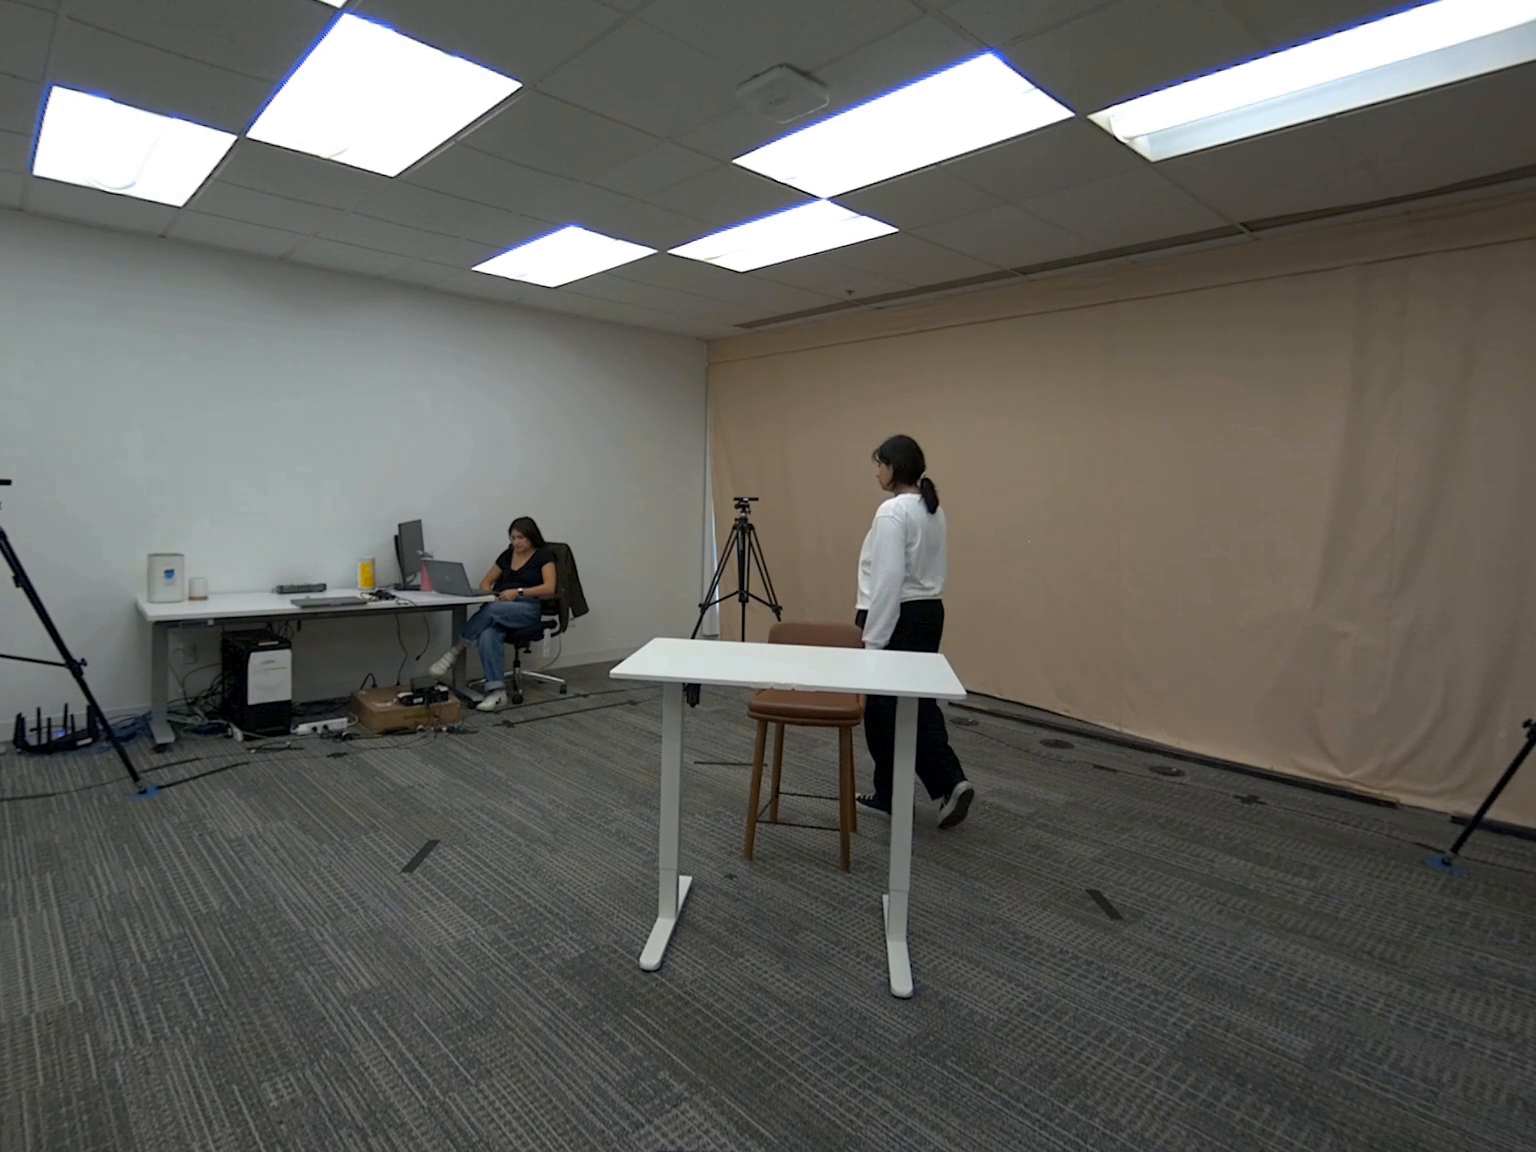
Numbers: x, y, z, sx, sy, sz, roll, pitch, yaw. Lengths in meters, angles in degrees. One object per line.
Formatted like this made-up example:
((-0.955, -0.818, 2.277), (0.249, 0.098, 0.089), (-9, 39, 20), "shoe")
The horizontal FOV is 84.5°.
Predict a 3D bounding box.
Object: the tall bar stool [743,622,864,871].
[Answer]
((0.155, 0.655, 3.401), (0.462, 0.889, 0.462), (2, 1, 14), "tall bar stool")
